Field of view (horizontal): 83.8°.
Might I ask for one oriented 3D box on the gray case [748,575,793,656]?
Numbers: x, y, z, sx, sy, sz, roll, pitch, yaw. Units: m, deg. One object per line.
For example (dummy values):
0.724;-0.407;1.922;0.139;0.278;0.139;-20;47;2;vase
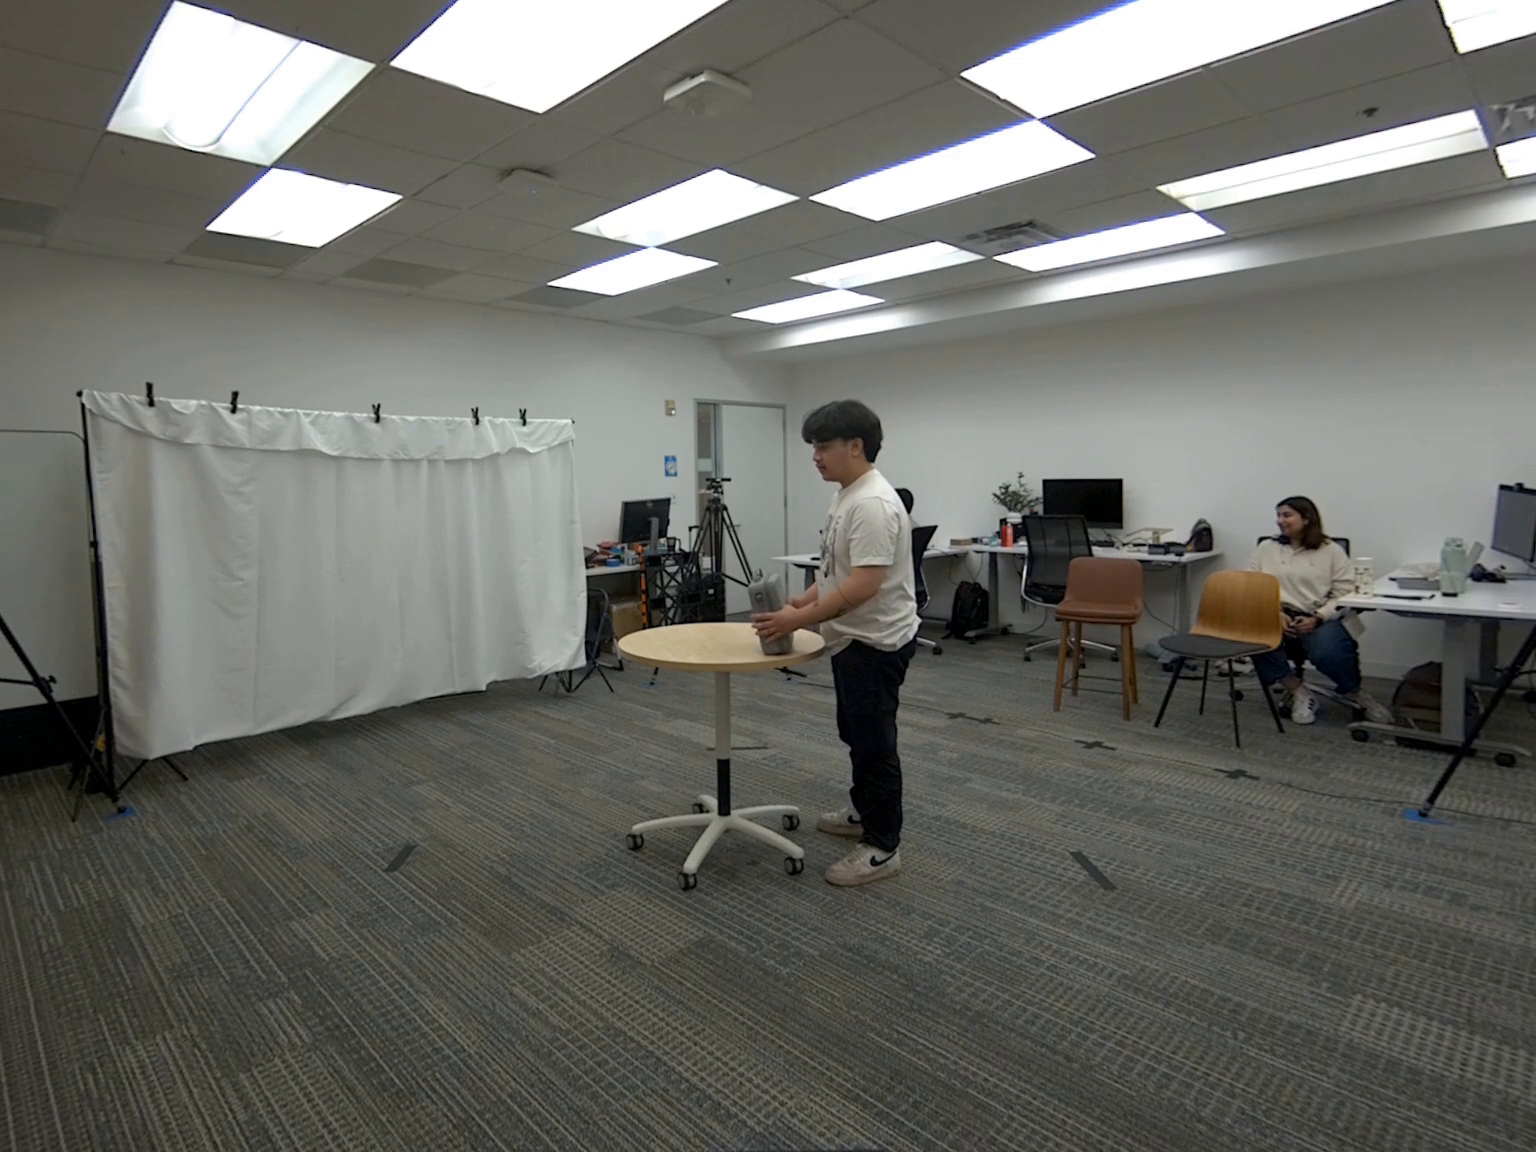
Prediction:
0.012;0.119;2.997;0.105;0.260;0.255;-11;3;8;gray case
